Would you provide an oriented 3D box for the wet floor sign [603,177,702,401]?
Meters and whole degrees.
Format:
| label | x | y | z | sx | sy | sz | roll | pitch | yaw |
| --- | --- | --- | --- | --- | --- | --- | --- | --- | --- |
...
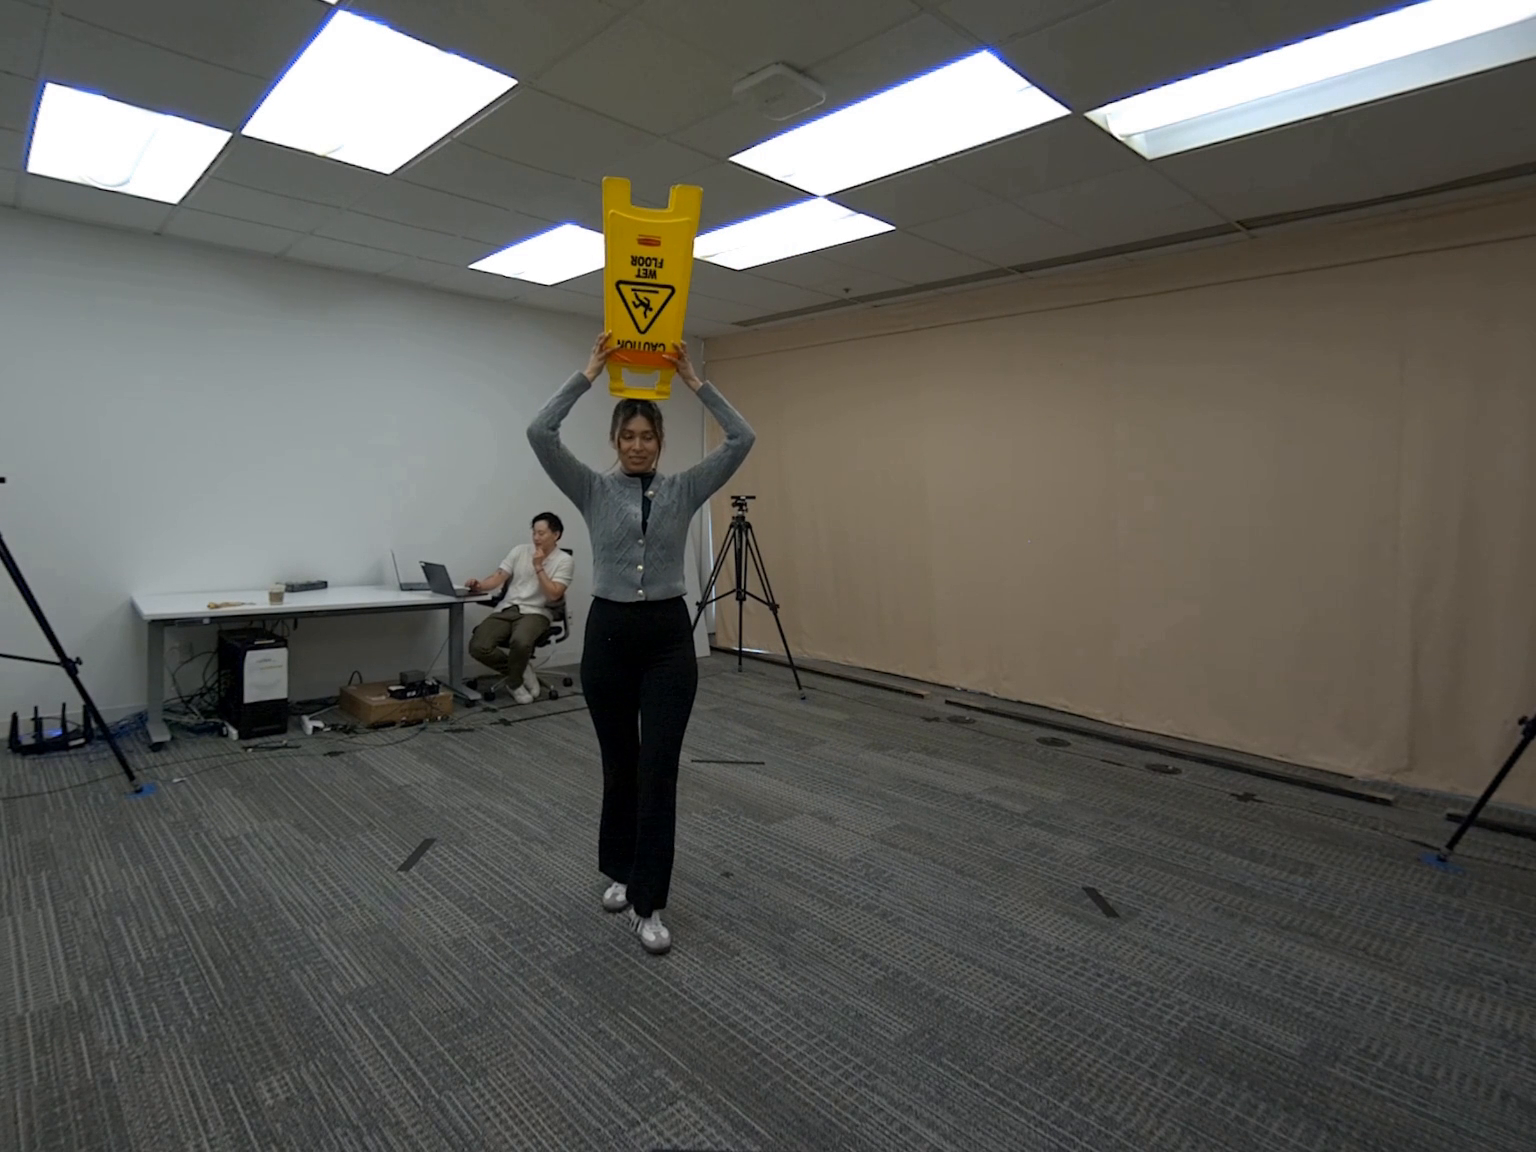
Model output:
| label | x | y | z | sx | sy | sz | roll | pitch | yaw |
| --- | --- | --- | --- | --- | --- | --- | --- | --- | --- |
| wet floor sign | -0.385 | -0.867 | 2.597 | 0.280 | 0.637 | 0.296 | 4 | 23 | -9 |
